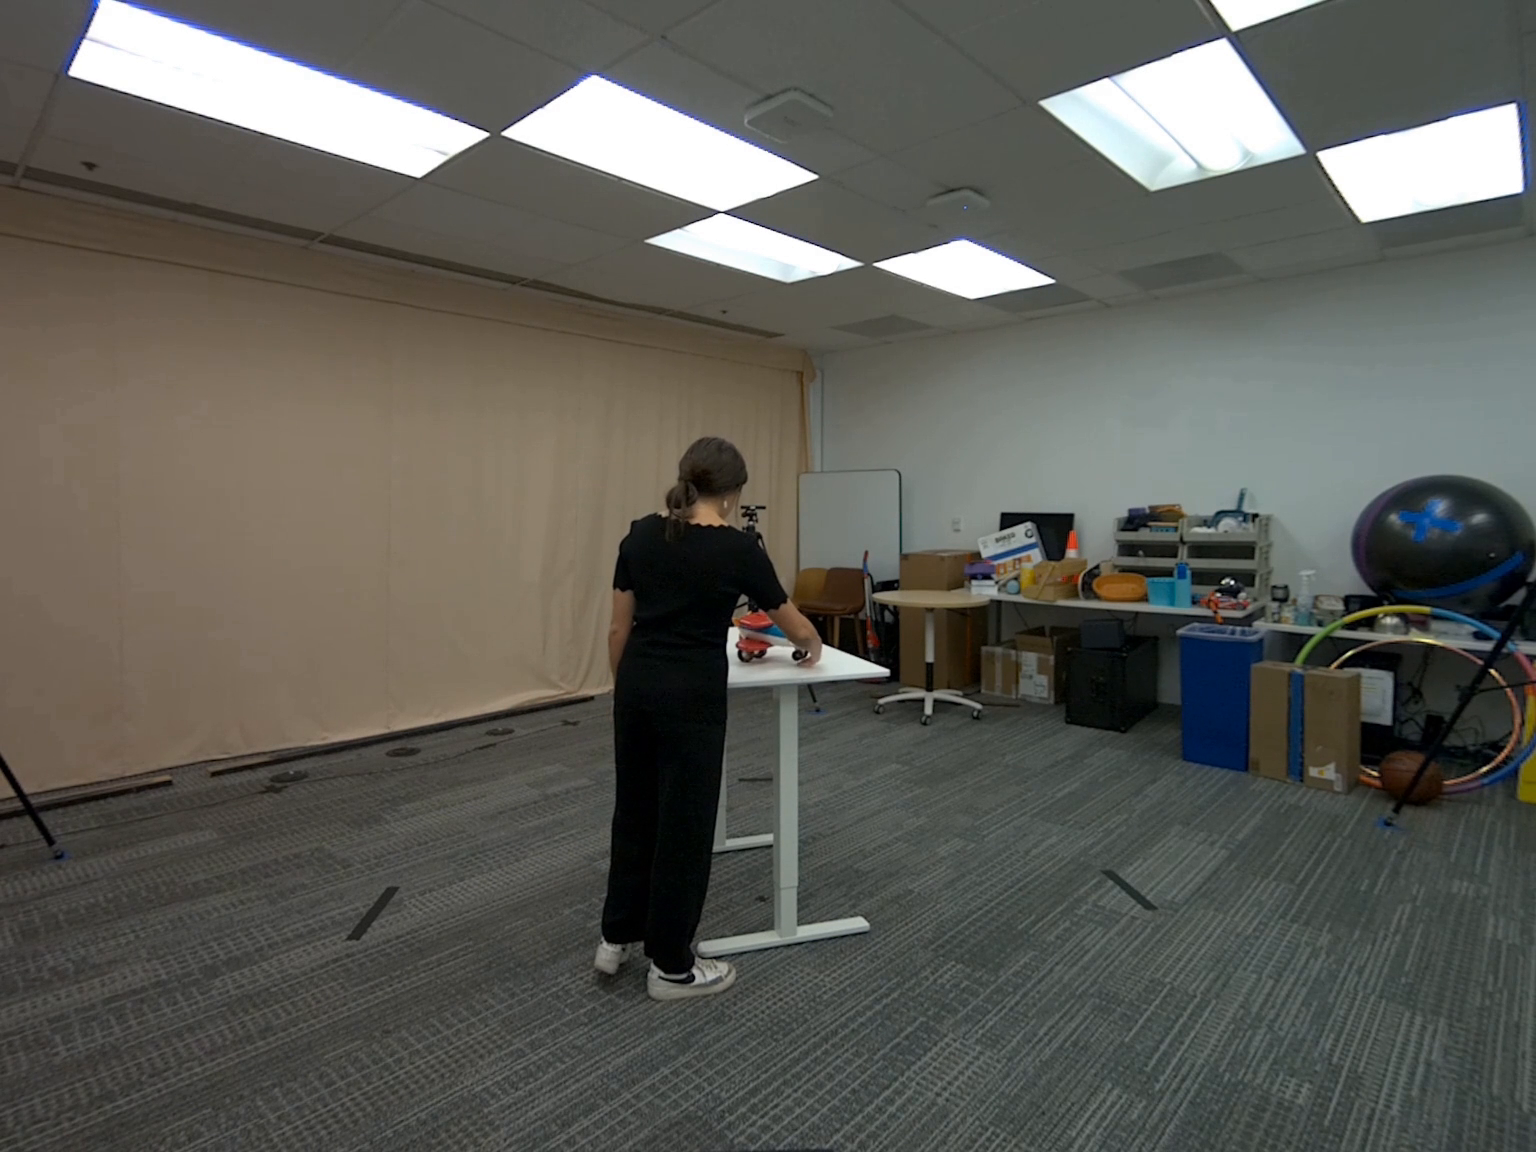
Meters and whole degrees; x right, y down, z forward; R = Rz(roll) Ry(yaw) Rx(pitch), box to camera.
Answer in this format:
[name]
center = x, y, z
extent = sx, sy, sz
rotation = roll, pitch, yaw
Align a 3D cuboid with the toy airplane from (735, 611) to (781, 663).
[toy airplane]
center = 0.026, 0.198, 2.760
extent = 0.260, 0.156, 0.250
rotation = -6, 3, 3
